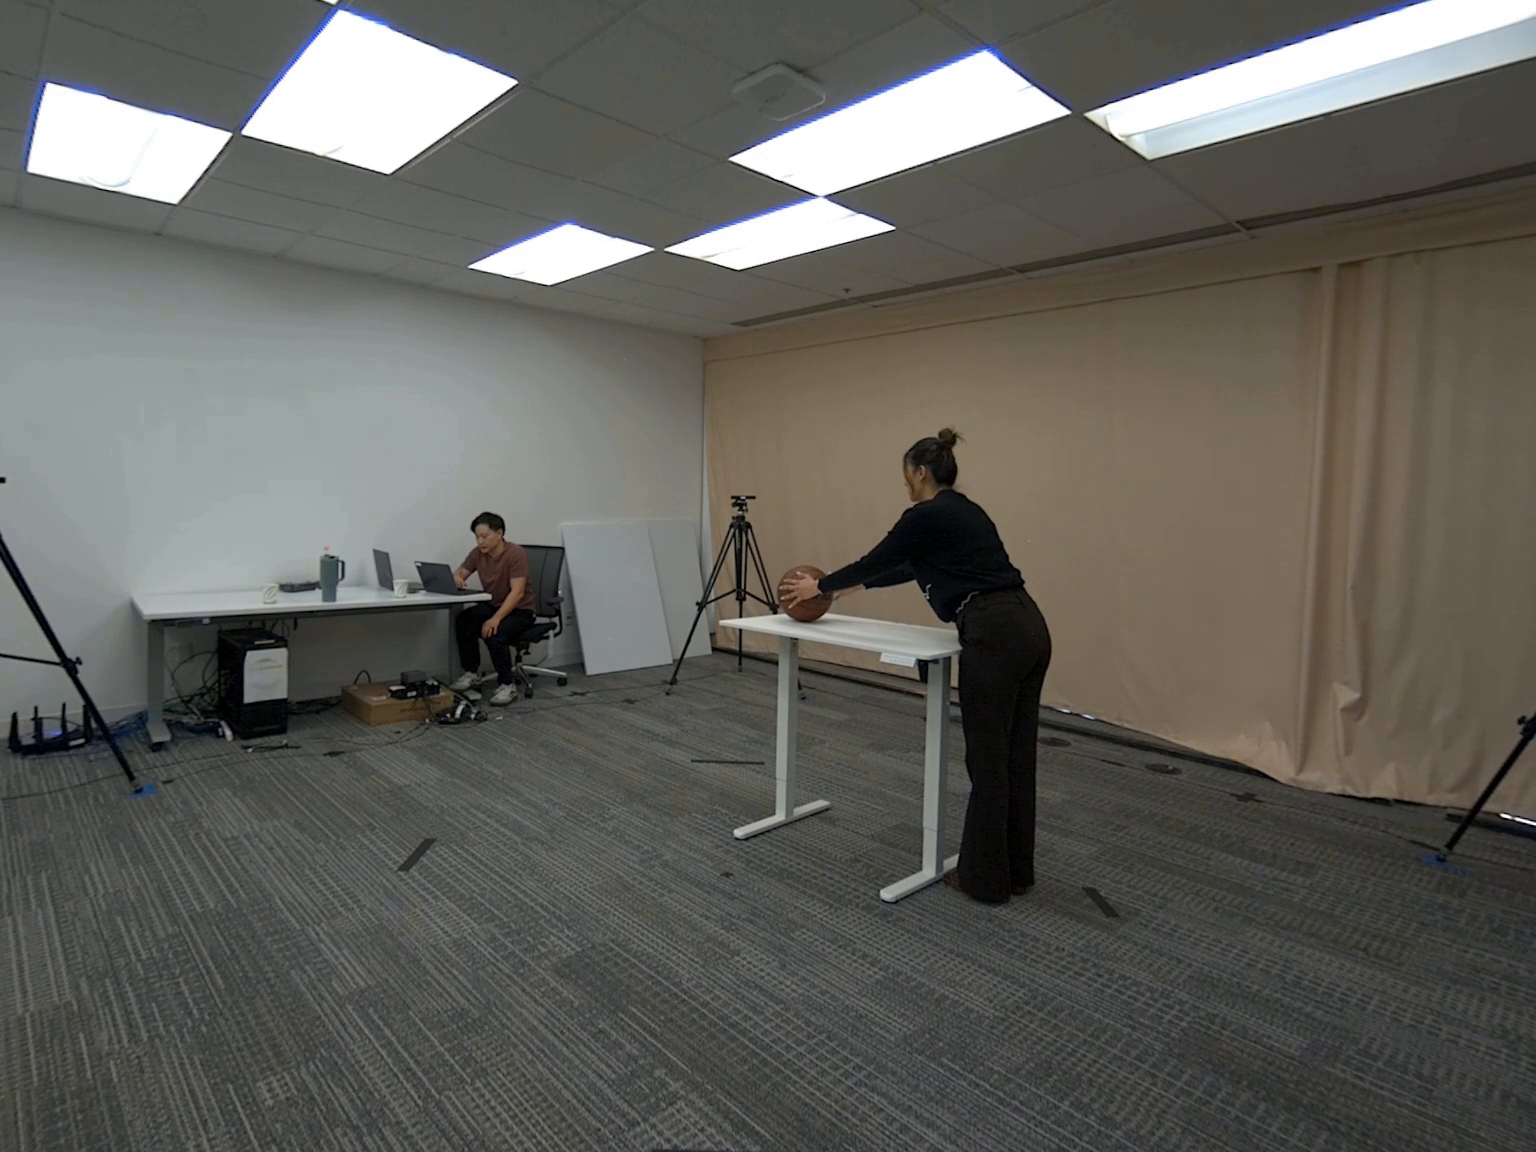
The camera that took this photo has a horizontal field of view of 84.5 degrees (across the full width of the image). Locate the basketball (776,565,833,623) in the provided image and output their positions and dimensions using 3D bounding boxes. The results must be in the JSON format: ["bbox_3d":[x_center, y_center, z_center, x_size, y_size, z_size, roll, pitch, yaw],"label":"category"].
[{"bbox_3d":[0.149,0.072,3.520,0.236,0.235,0.237,1,4,-1],"label":"basketball"}]
